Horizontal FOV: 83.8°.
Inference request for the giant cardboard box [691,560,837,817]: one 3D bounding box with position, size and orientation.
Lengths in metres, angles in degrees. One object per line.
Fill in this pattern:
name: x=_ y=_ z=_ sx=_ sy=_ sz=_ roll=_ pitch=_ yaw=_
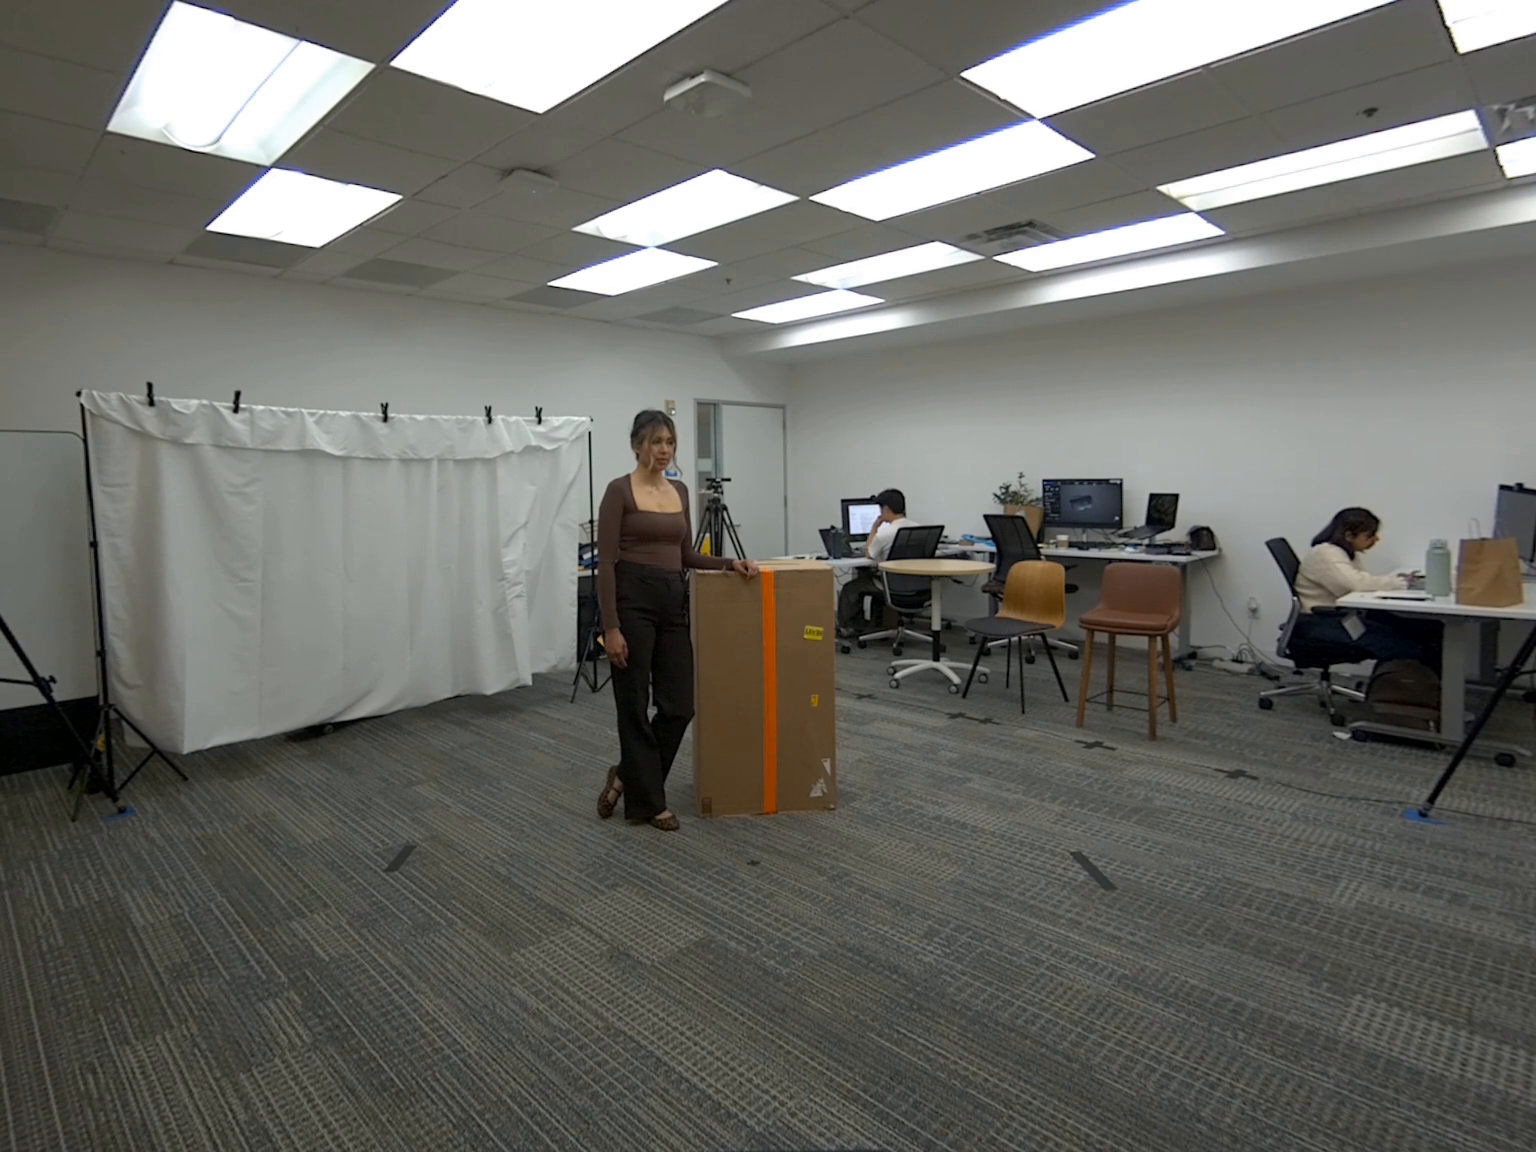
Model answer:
giant cardboard box: x=-0.030 y=0.462 z=3.738 sx=0.580 sy=1.024 sz=0.452 roll=-1 pitch=4 yaw=-8
